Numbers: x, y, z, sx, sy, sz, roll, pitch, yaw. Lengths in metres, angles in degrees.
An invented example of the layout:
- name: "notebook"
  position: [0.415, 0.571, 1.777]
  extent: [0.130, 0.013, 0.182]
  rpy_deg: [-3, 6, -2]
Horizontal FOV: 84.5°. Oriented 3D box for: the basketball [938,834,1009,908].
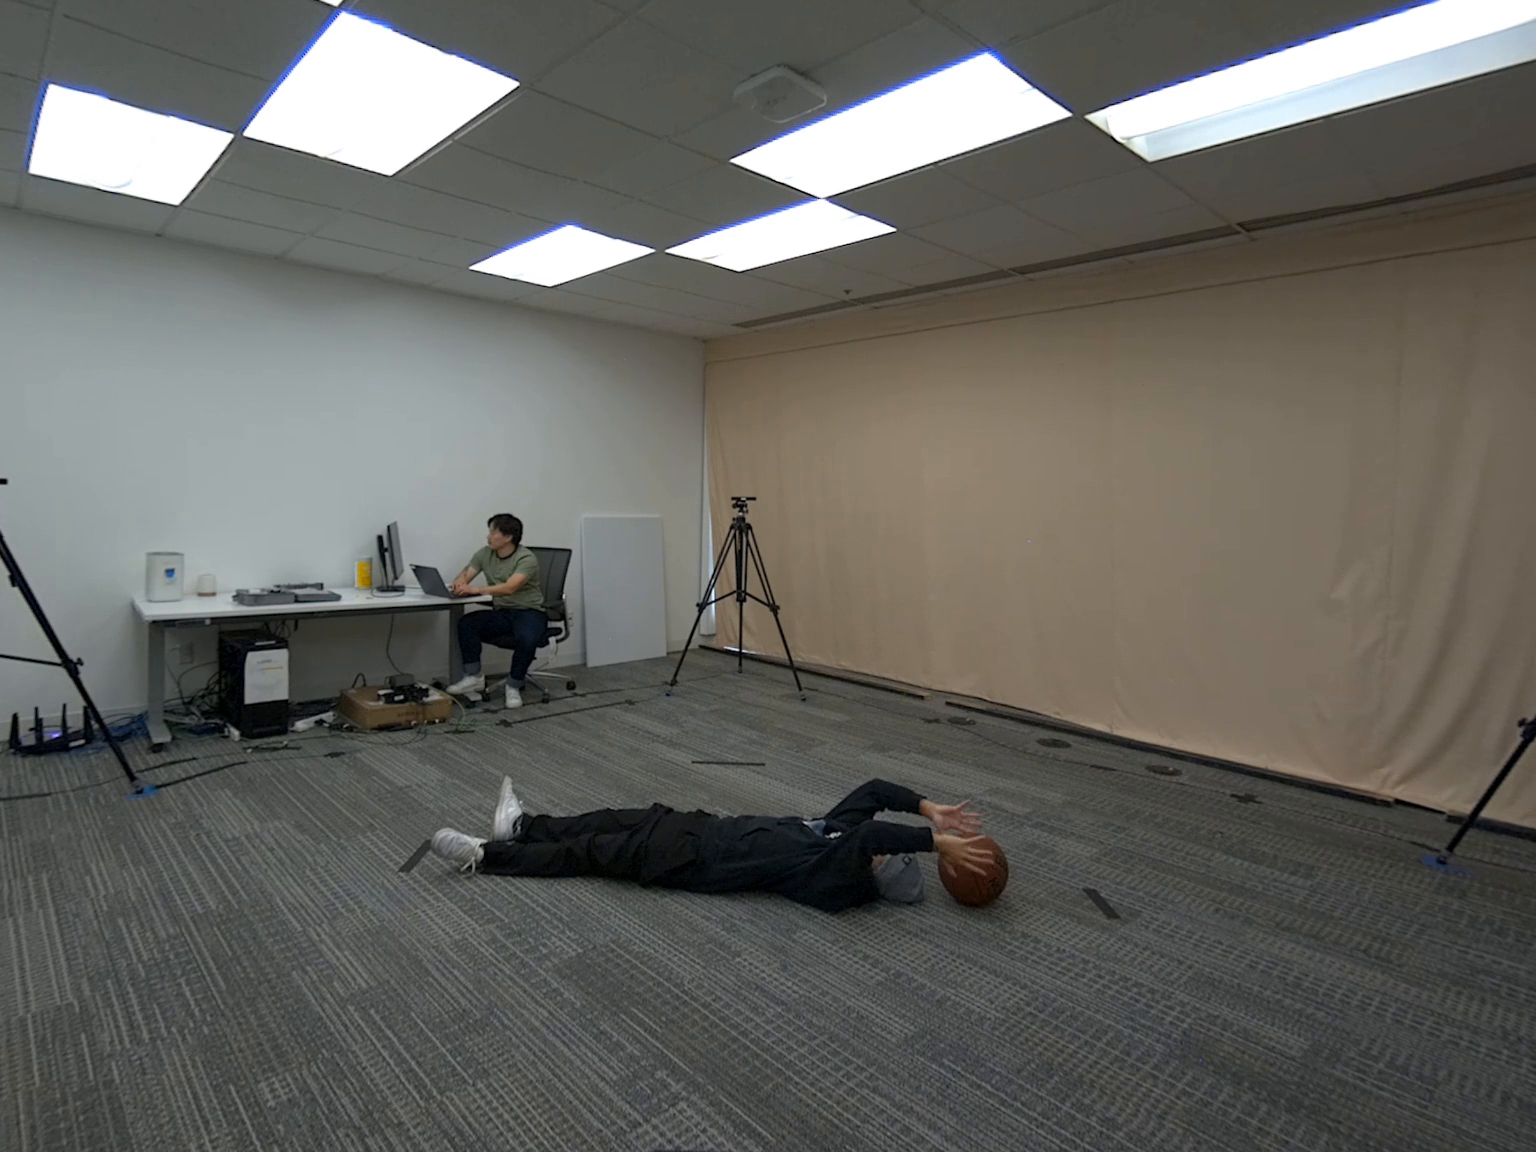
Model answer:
- name: "basketball"
  position: [0.714, 1.021, 2.945]
  extent: [0.236, 0.235, 0.237]
  rpy_deg: [1, 4, -1]
